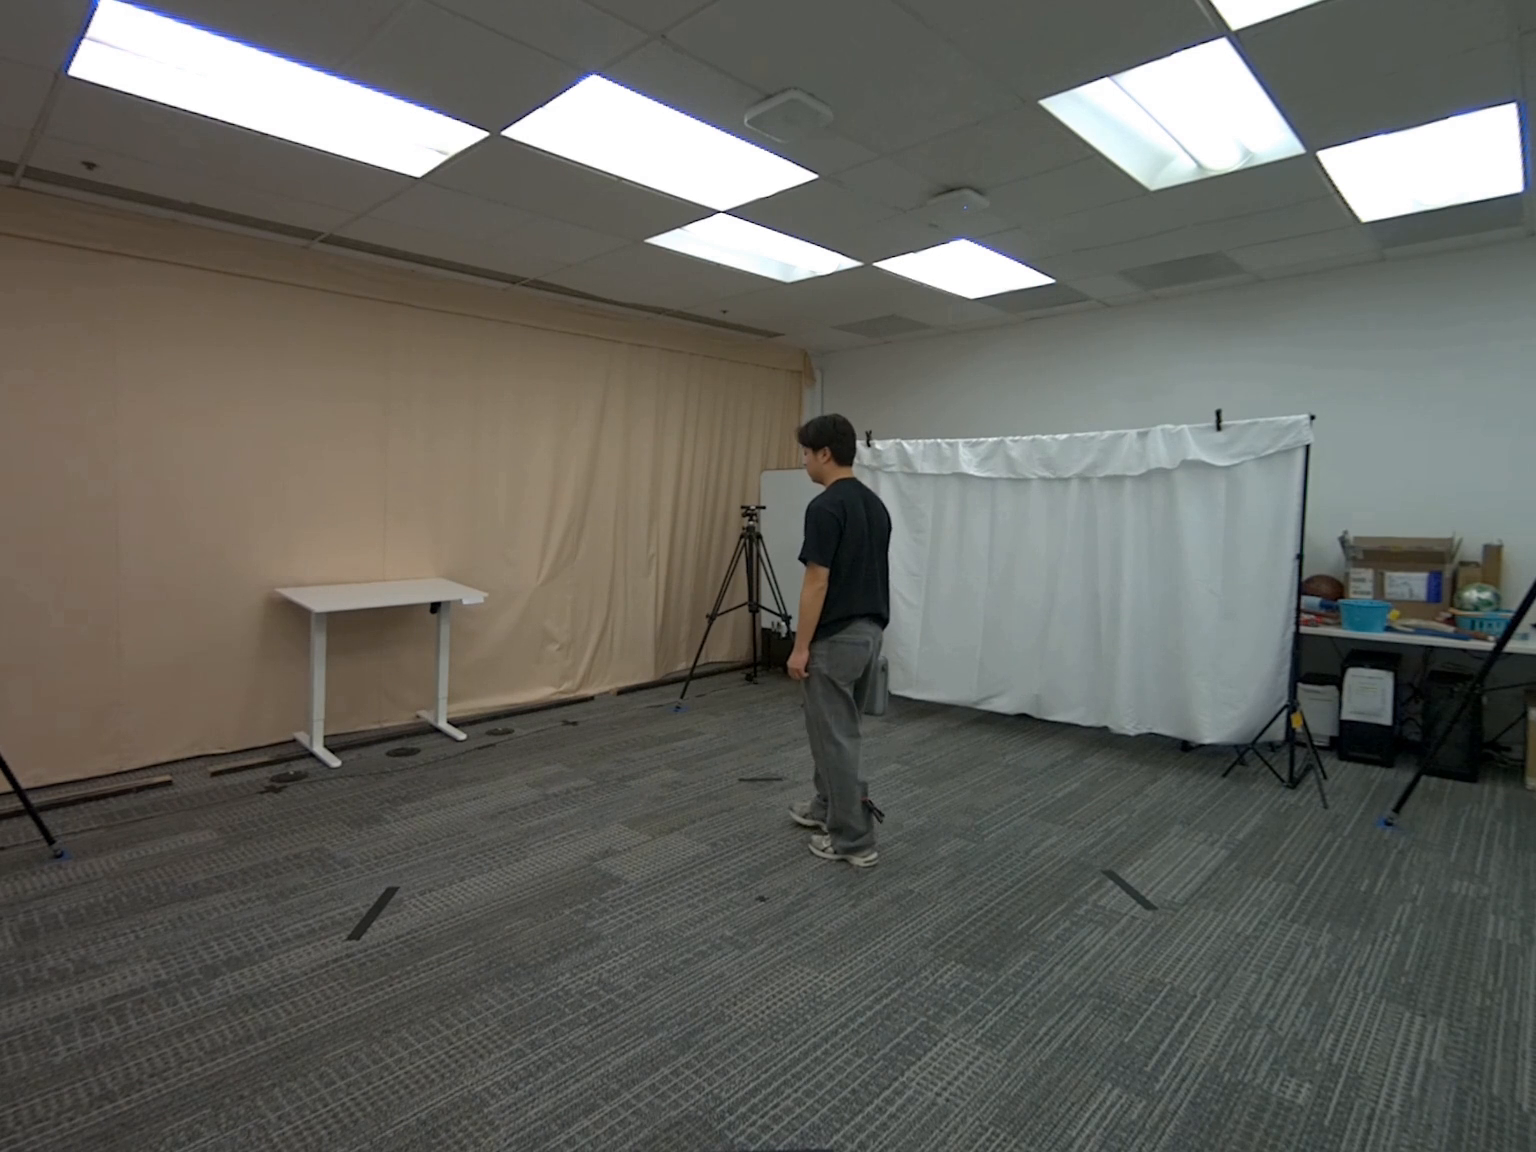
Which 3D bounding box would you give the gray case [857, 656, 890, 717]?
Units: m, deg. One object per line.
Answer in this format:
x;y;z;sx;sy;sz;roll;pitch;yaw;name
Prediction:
0.388;0.448;3.607;0.272;0.288;0.099;-1;-4;44;gray case
